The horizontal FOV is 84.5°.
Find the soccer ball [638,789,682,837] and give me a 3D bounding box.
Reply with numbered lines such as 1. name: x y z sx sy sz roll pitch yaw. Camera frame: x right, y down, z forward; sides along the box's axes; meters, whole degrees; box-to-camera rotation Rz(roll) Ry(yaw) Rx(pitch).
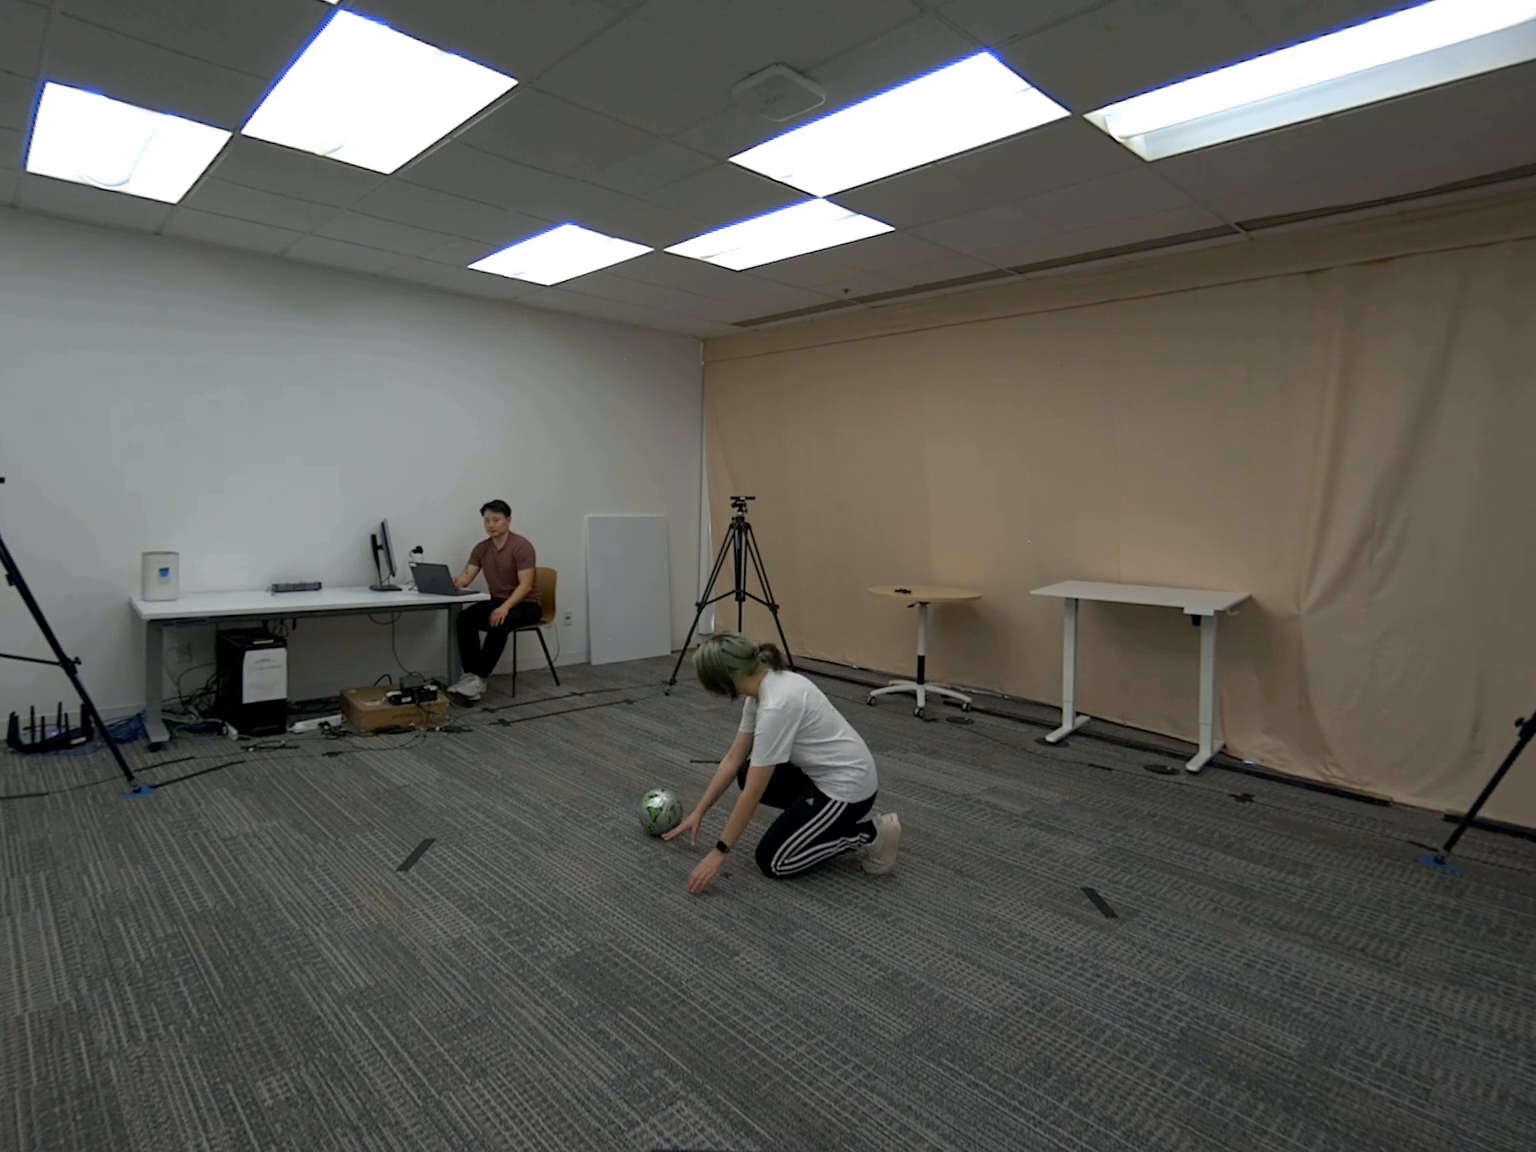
1. soccer ball: -0.443 0.963 3.467 0.187 0.187 0.188 1 4 -1
